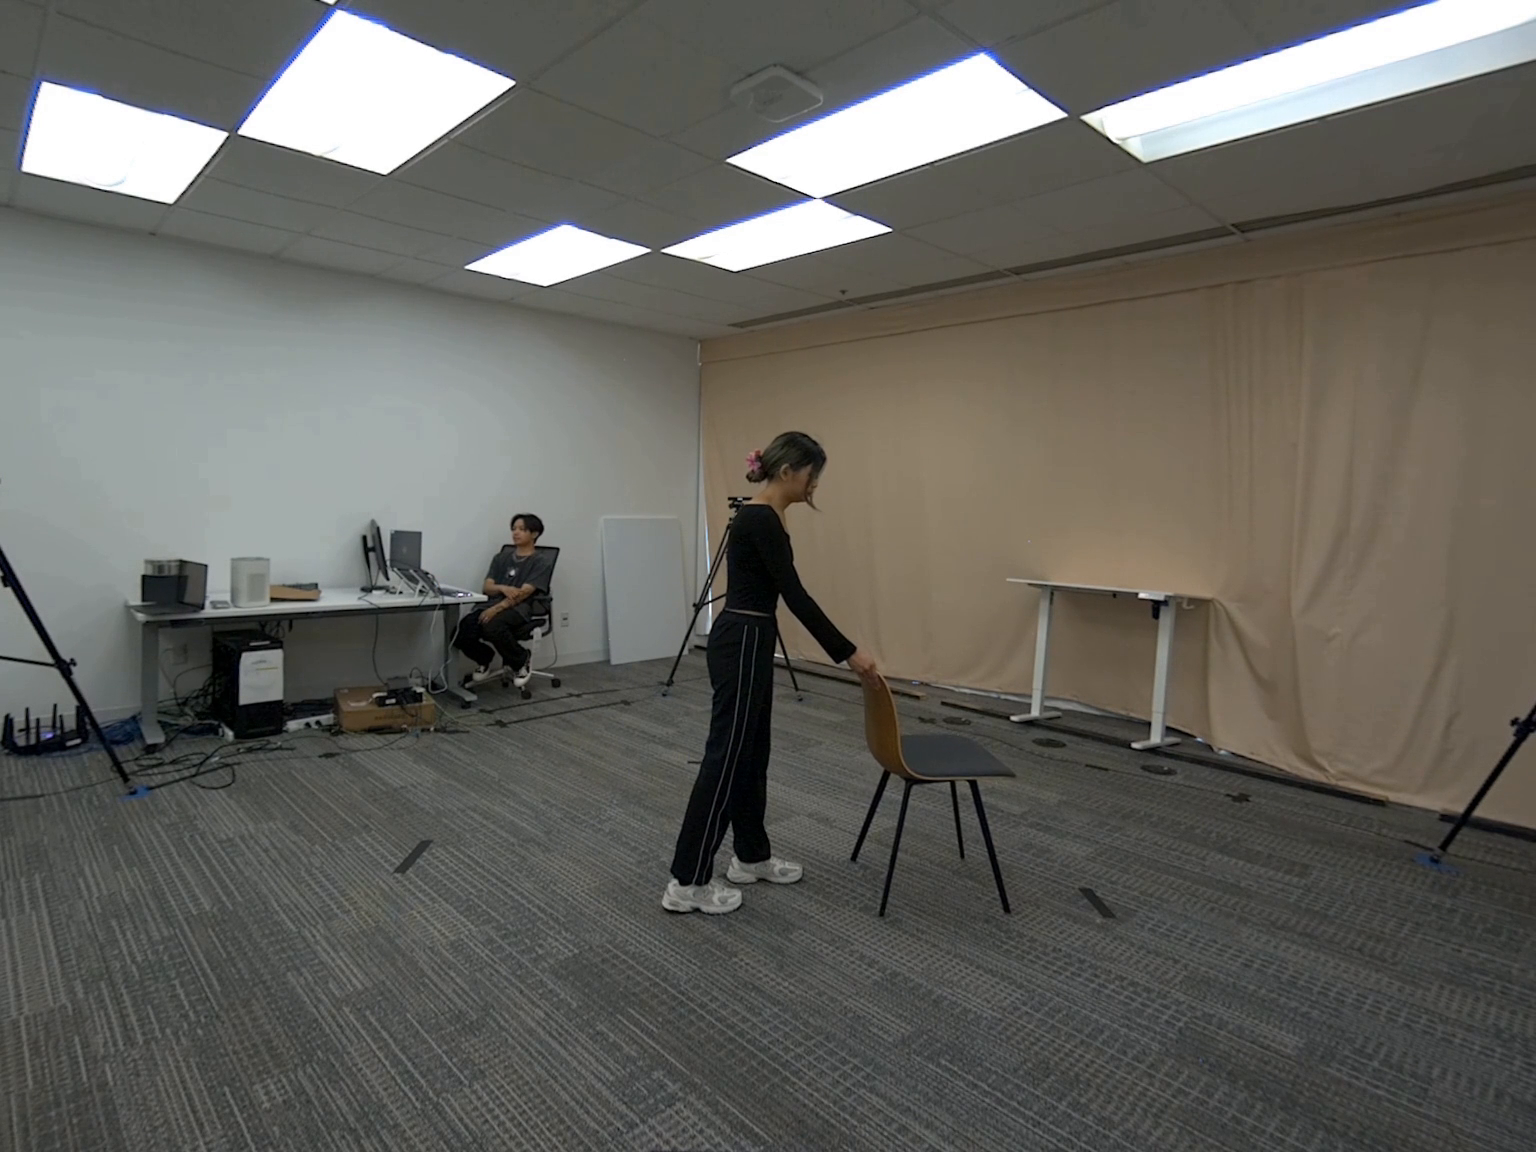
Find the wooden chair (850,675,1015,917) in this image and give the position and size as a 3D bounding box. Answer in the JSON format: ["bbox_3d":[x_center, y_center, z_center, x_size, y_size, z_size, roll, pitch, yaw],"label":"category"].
[{"bbox_3d":[0.579,0.699,3.037,0.521,0.875,0.481,-4,3,-6],"label":"wooden chair"}]
